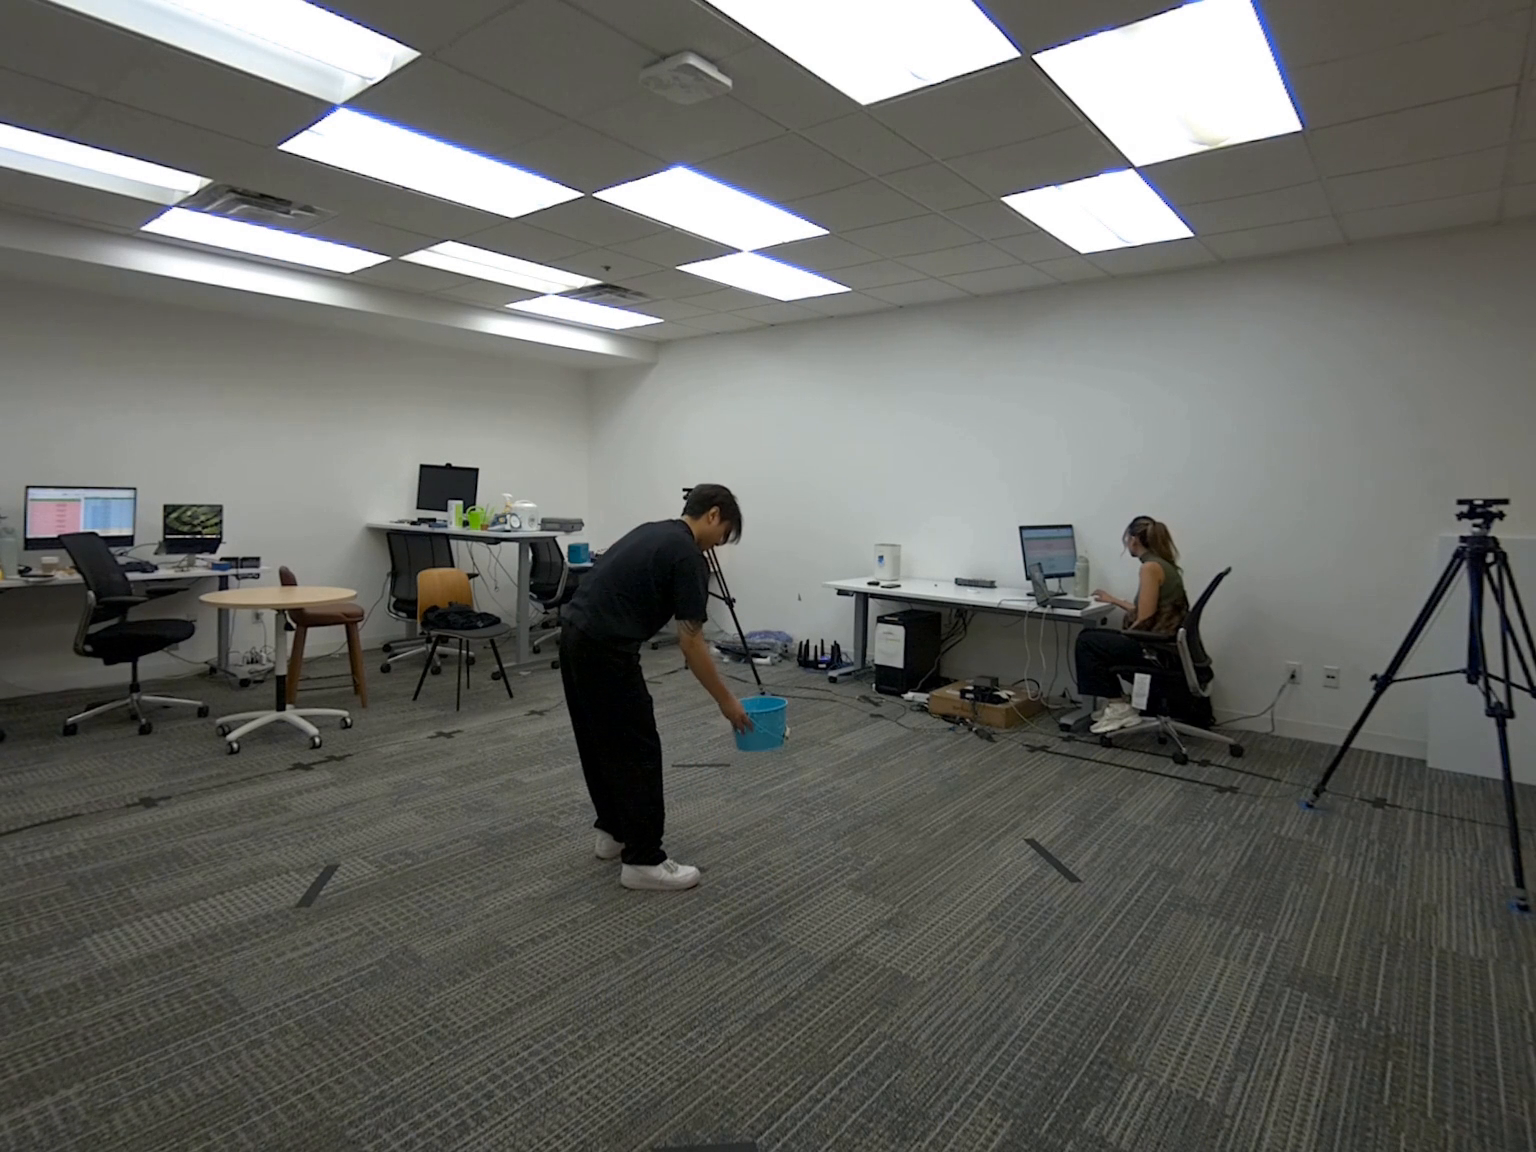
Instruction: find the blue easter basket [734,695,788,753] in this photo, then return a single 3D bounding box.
[{"bbox_3d":[-0.048,0.559,3.171,0.243,0.155,0.245,-5,5,-1],"label":"blue easter basket"}]
